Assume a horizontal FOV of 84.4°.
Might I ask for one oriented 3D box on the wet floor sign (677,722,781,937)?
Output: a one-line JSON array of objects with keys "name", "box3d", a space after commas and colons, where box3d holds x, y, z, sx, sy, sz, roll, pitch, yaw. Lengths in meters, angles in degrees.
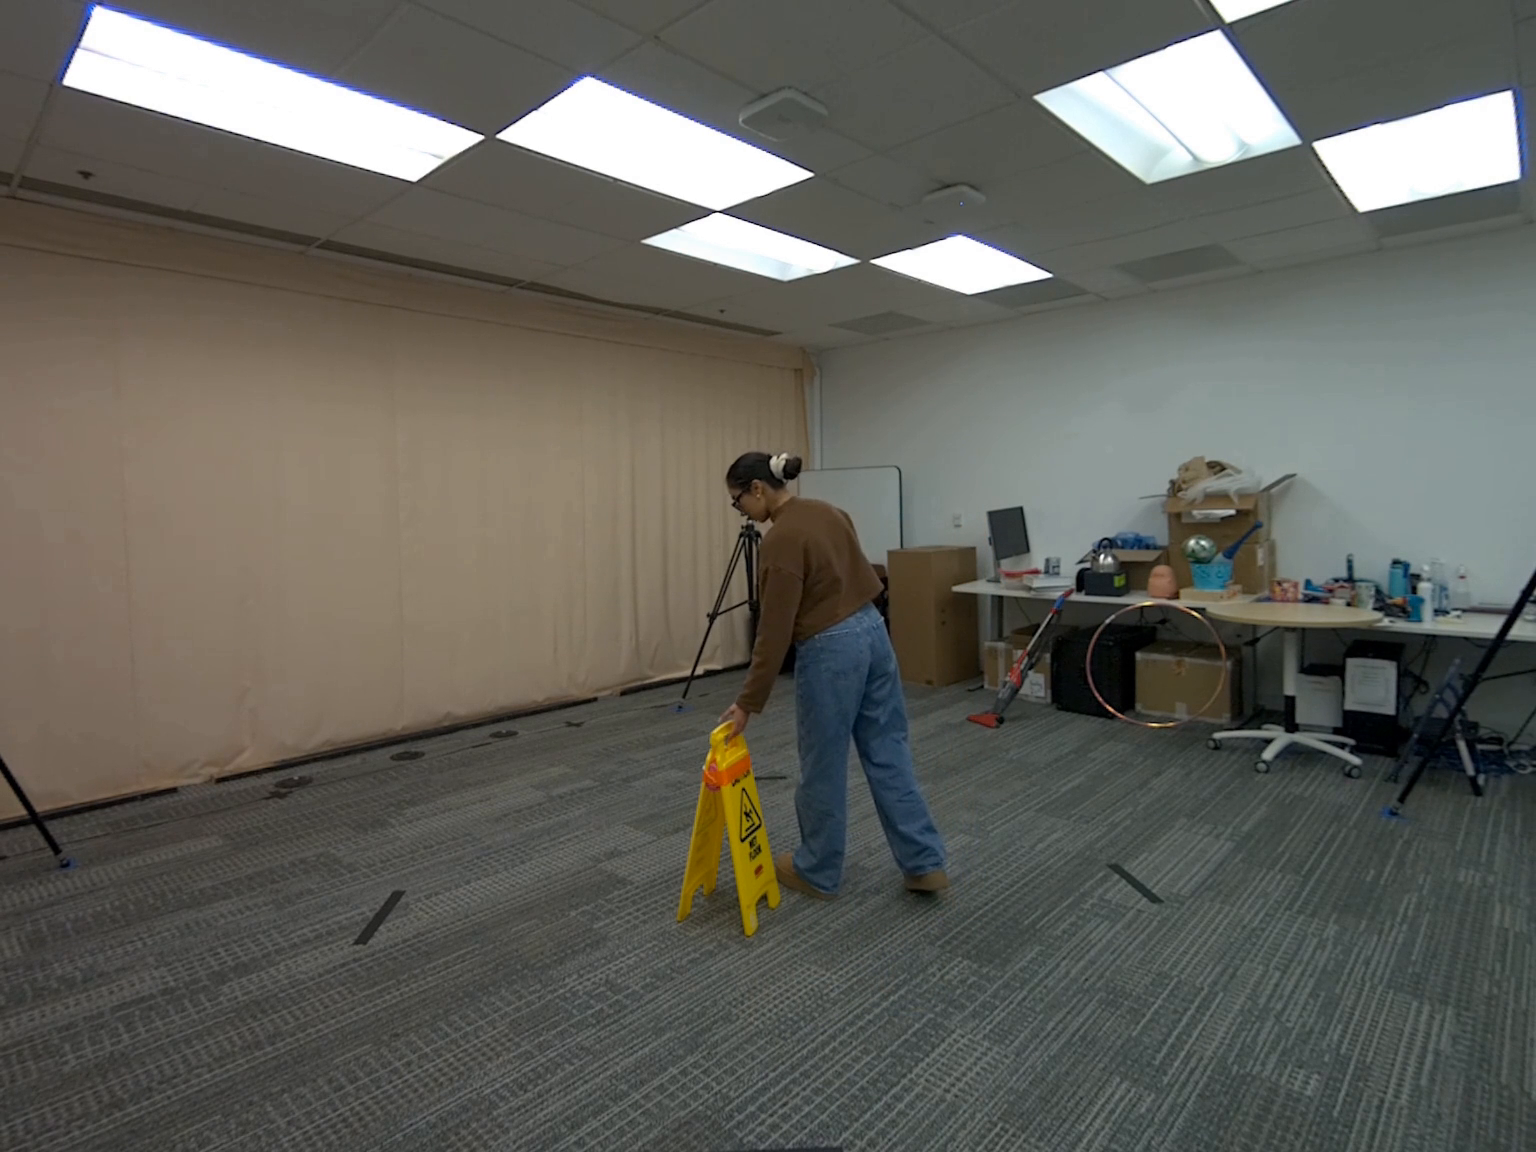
[{"name": "wet floor sign", "box3d": [-0.132, 0.829, 2.868, 0.297, 0.644, 0.276, 2, 5, 23]}]
